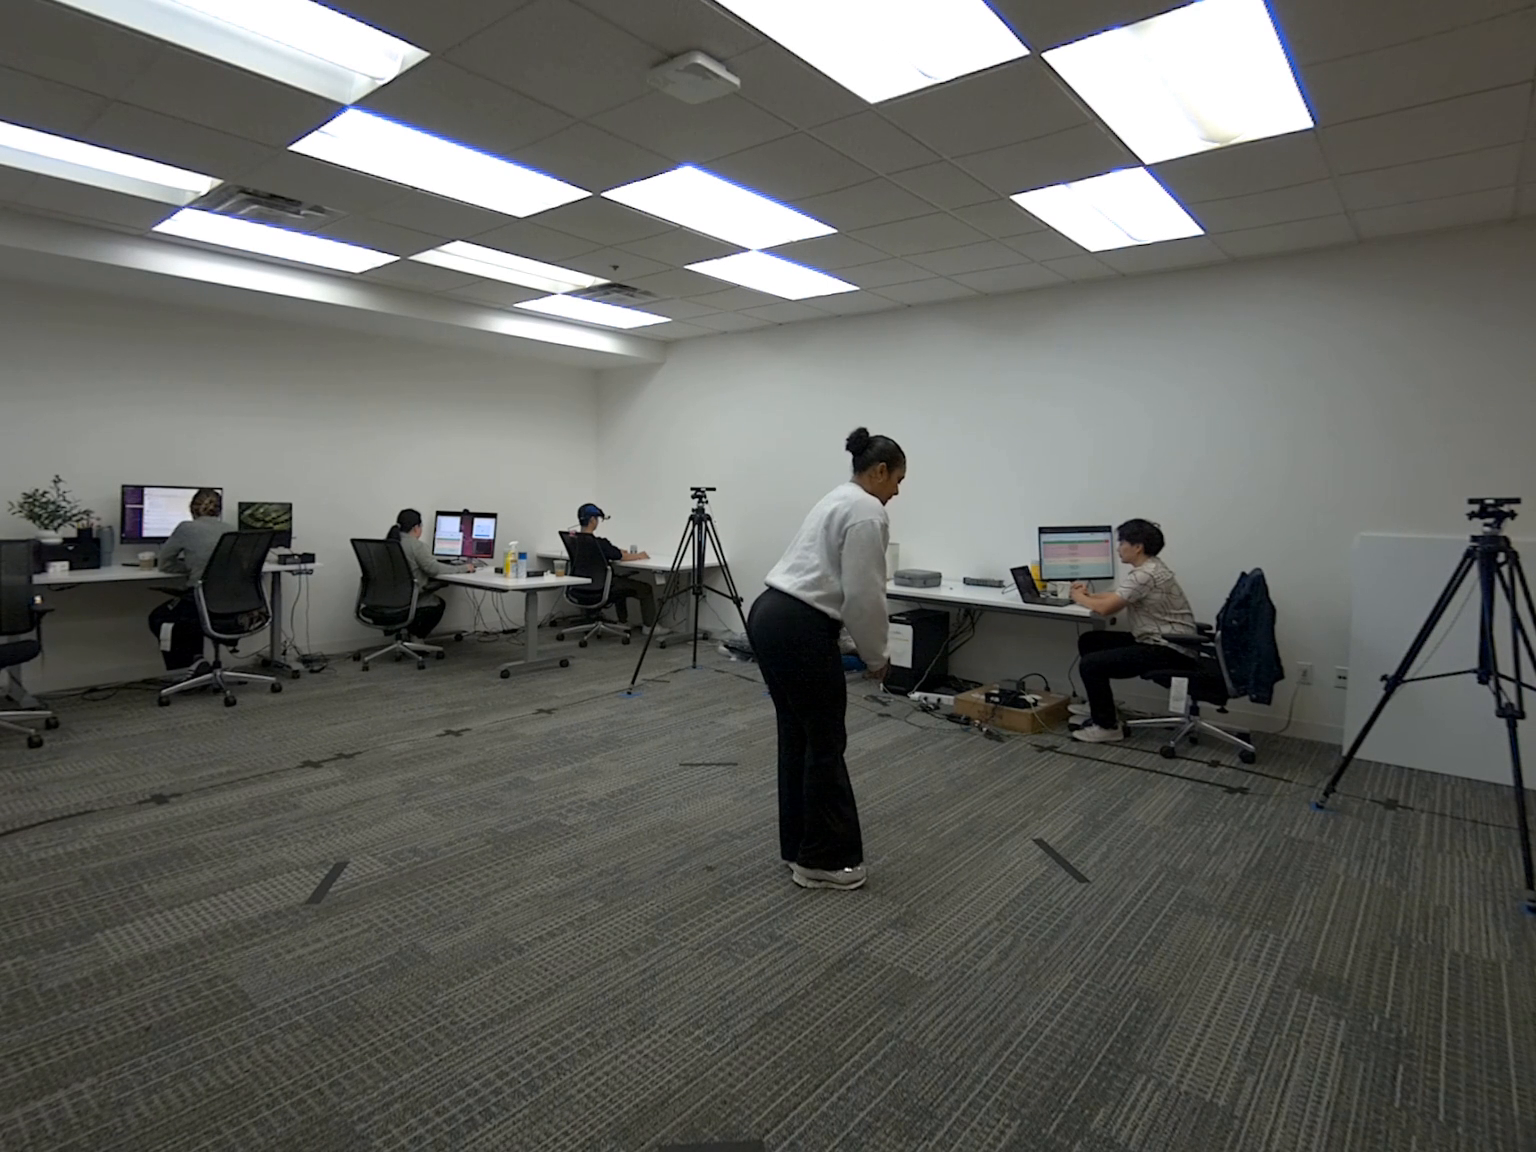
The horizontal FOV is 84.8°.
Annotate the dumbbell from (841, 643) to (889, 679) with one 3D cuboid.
[{"bbox_3d":[0.303,0.327,3.244,0.293,0.125,0.107,0,-14,-2],"label":"dumbbell"}]
